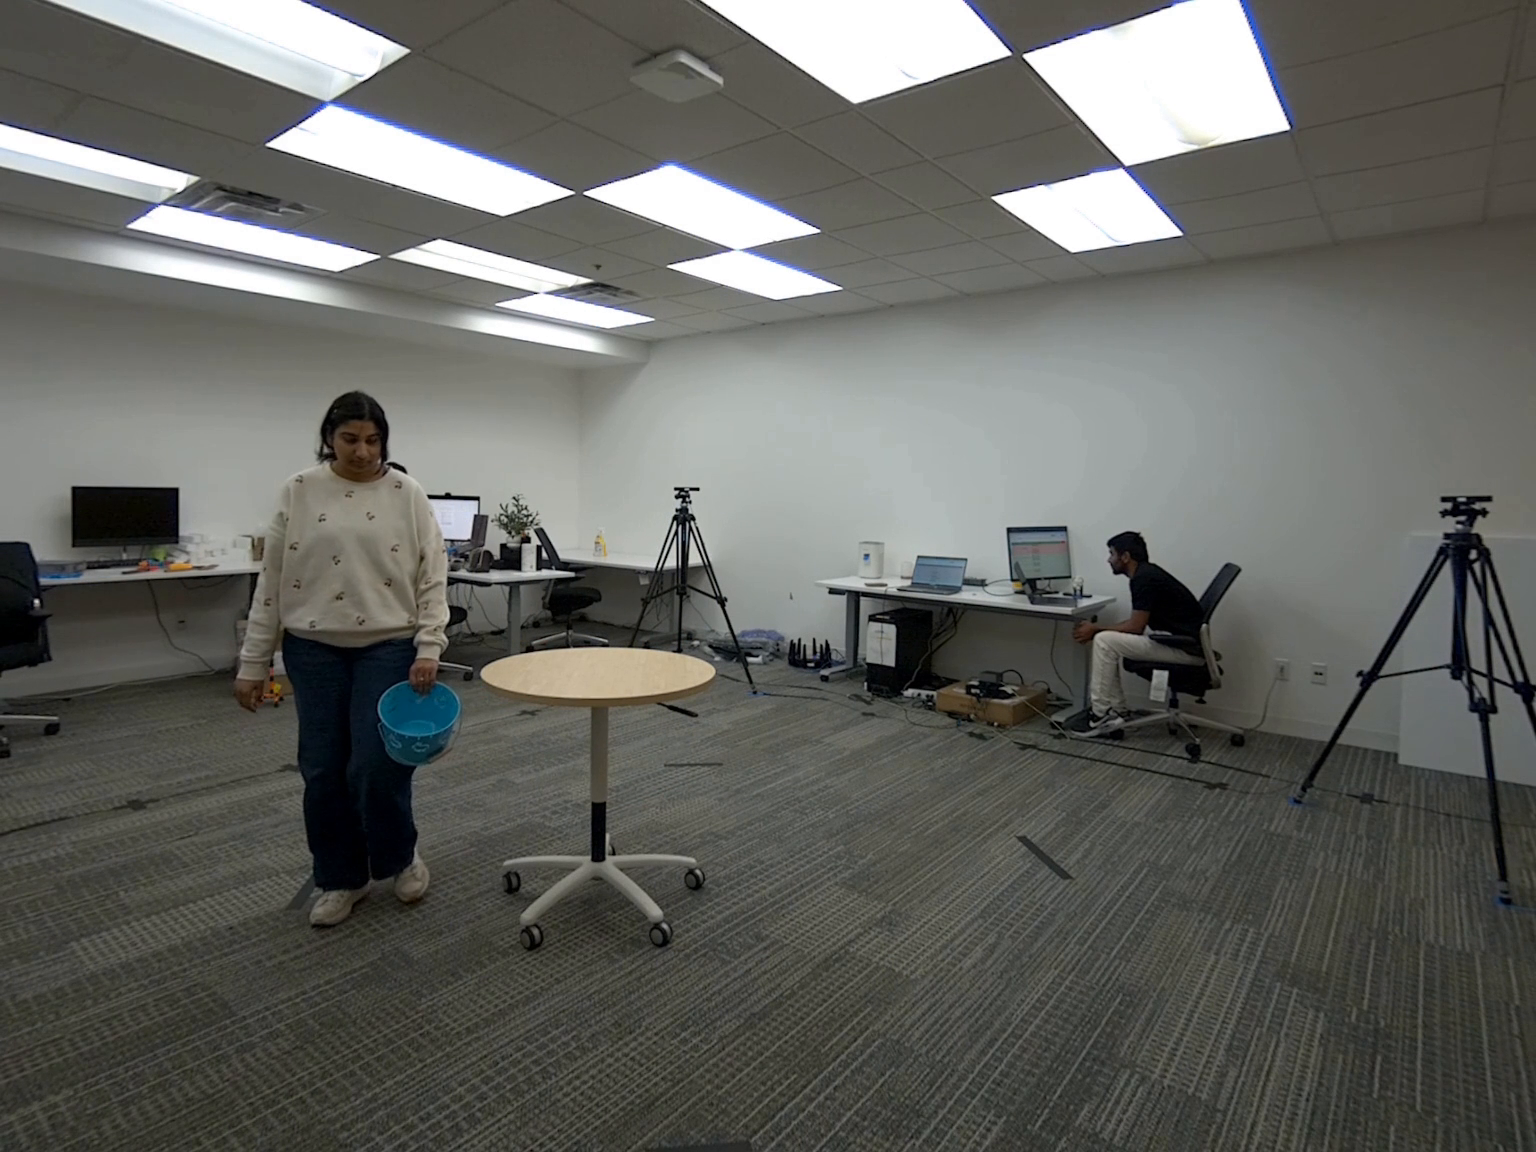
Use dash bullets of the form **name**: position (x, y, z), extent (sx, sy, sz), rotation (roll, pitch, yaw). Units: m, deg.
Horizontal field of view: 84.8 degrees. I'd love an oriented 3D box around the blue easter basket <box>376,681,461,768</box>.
- **blue easter basket**: position (-1.057, 0.453, 2.545), extent (0.241, 0.153, 0.250), rotation (10, 31, -8)
